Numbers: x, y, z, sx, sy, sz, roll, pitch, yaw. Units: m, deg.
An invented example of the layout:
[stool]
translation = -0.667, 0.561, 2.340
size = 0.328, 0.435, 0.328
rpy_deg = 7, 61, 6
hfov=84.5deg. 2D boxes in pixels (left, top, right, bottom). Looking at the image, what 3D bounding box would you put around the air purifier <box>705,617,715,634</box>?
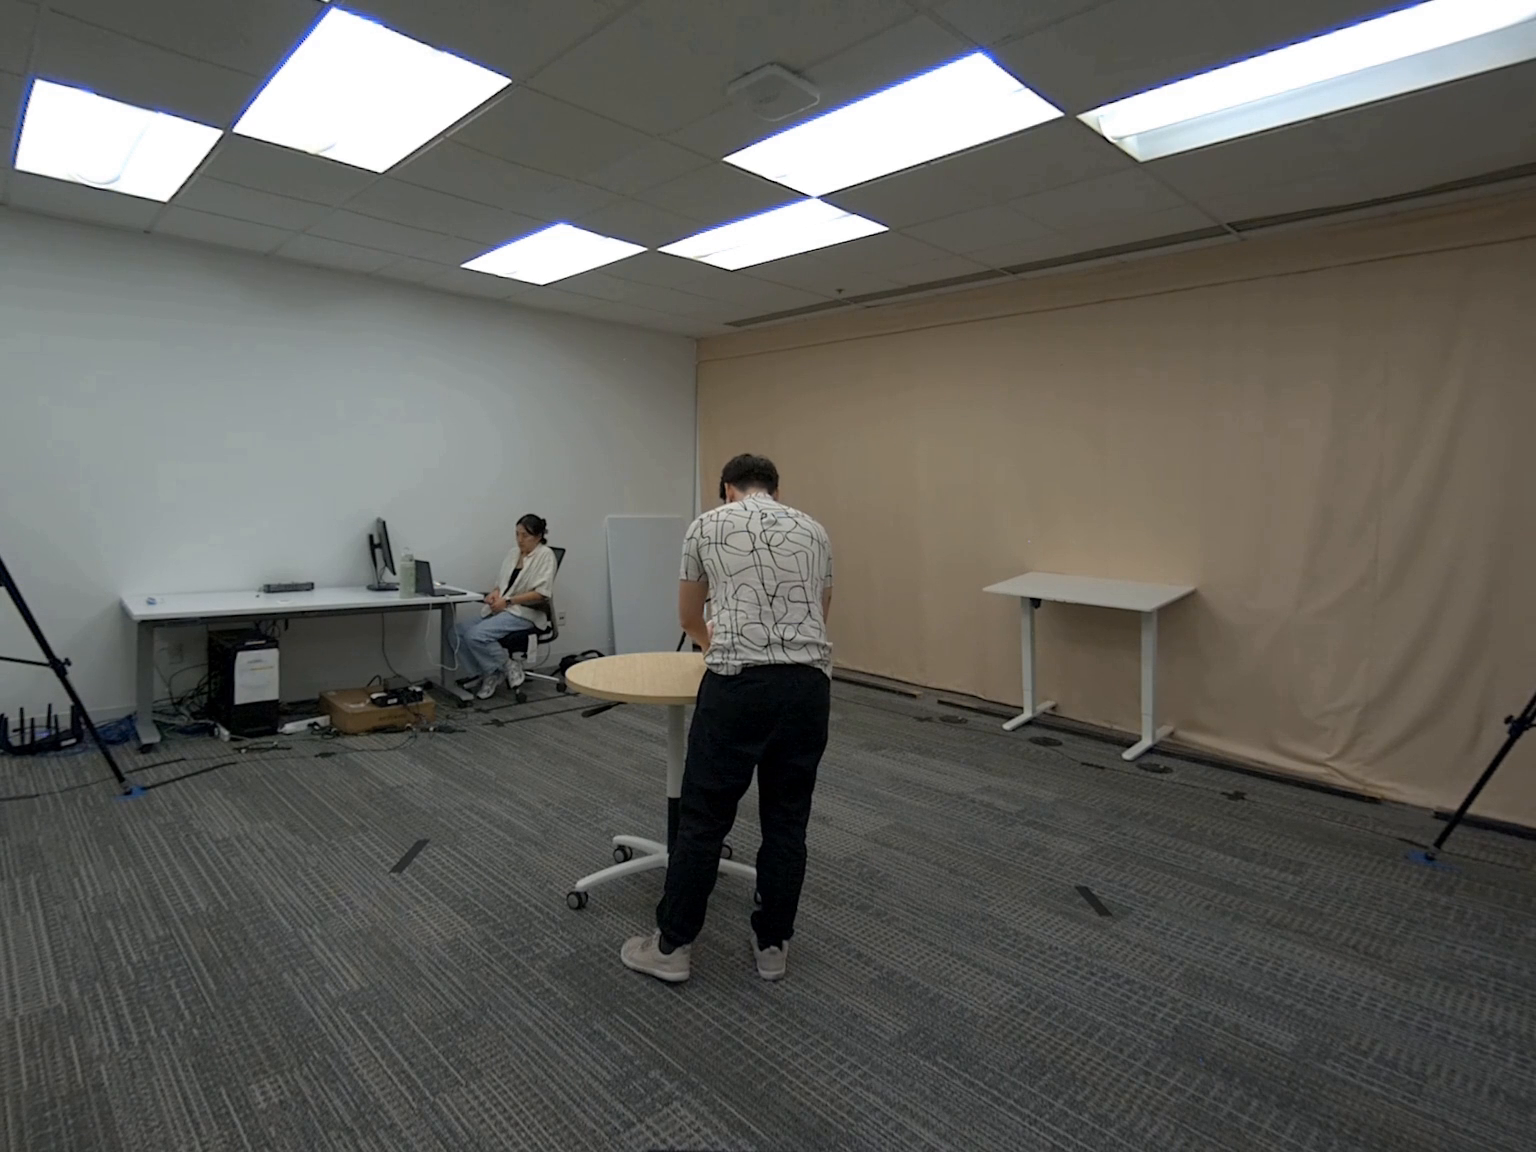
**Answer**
[air purifier]
translation = -0.123, 0.254, 2.935
size = 0.170, 0.170, 0.269
rpy_deg = 1, 4, -13
